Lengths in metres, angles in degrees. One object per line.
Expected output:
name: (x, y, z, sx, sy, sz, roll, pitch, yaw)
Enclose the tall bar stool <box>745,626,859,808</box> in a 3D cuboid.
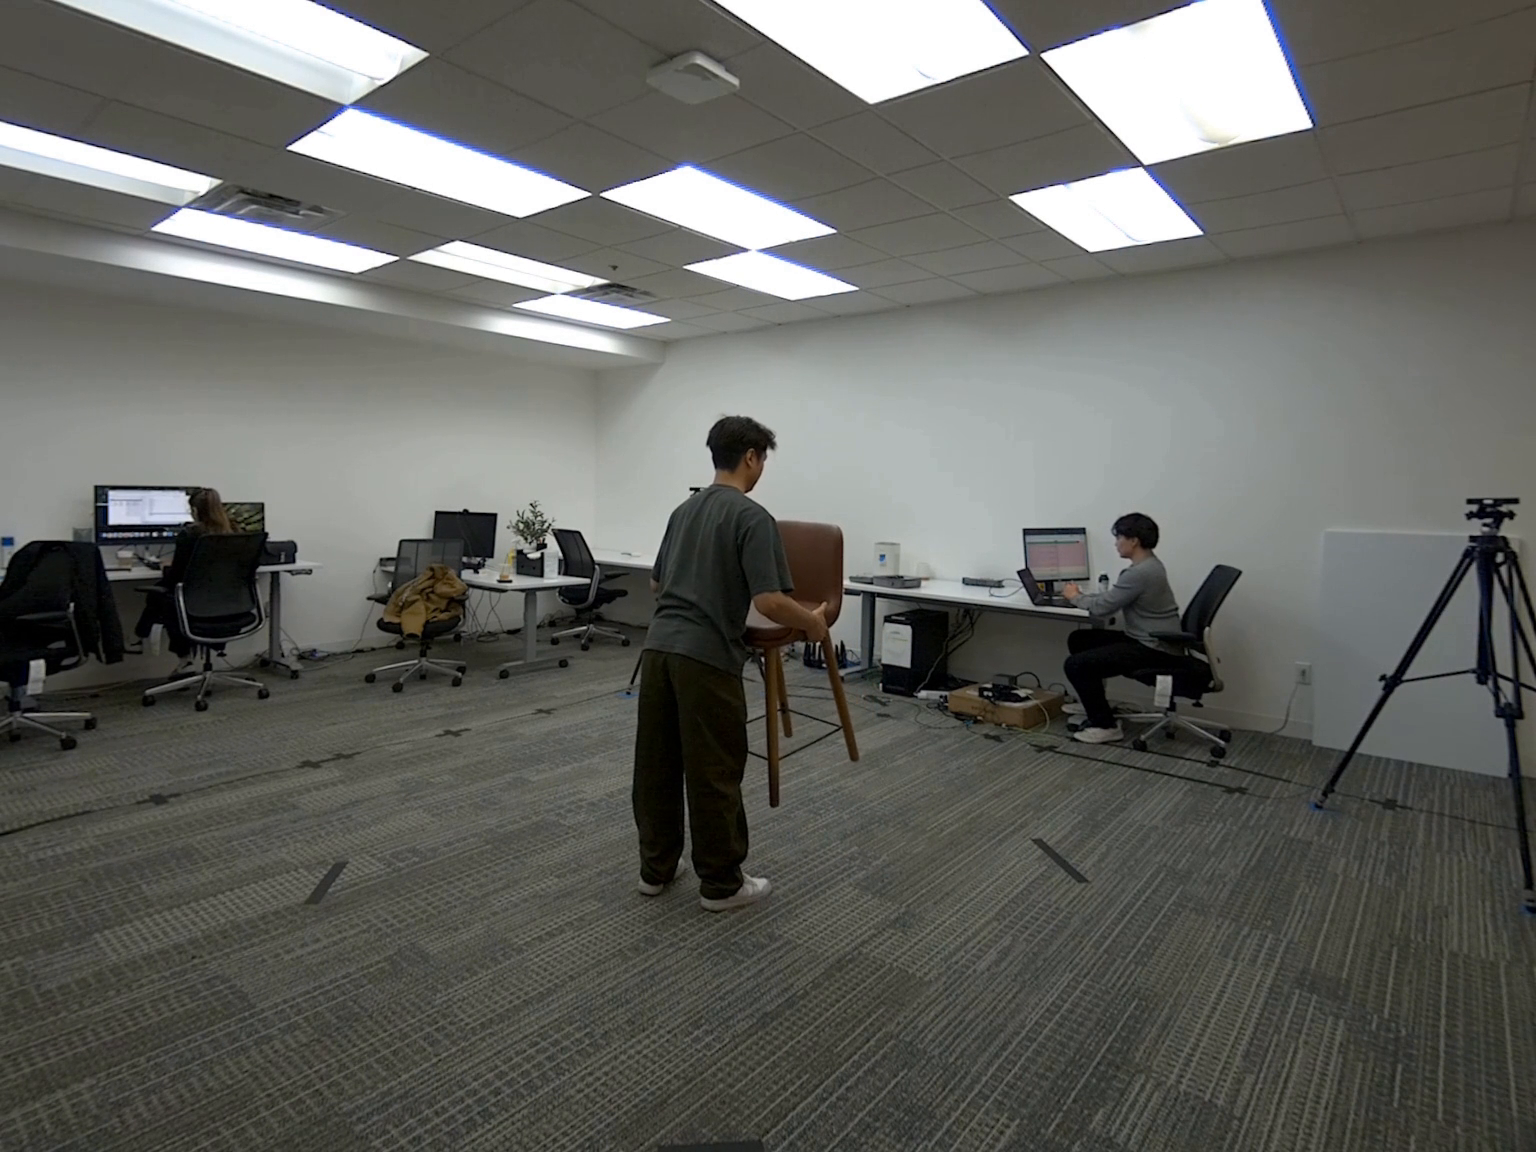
tall bar stool: (0.003, 0.282, 3.048, 0.456, 0.881, 0.472, -12, 12, -40)
